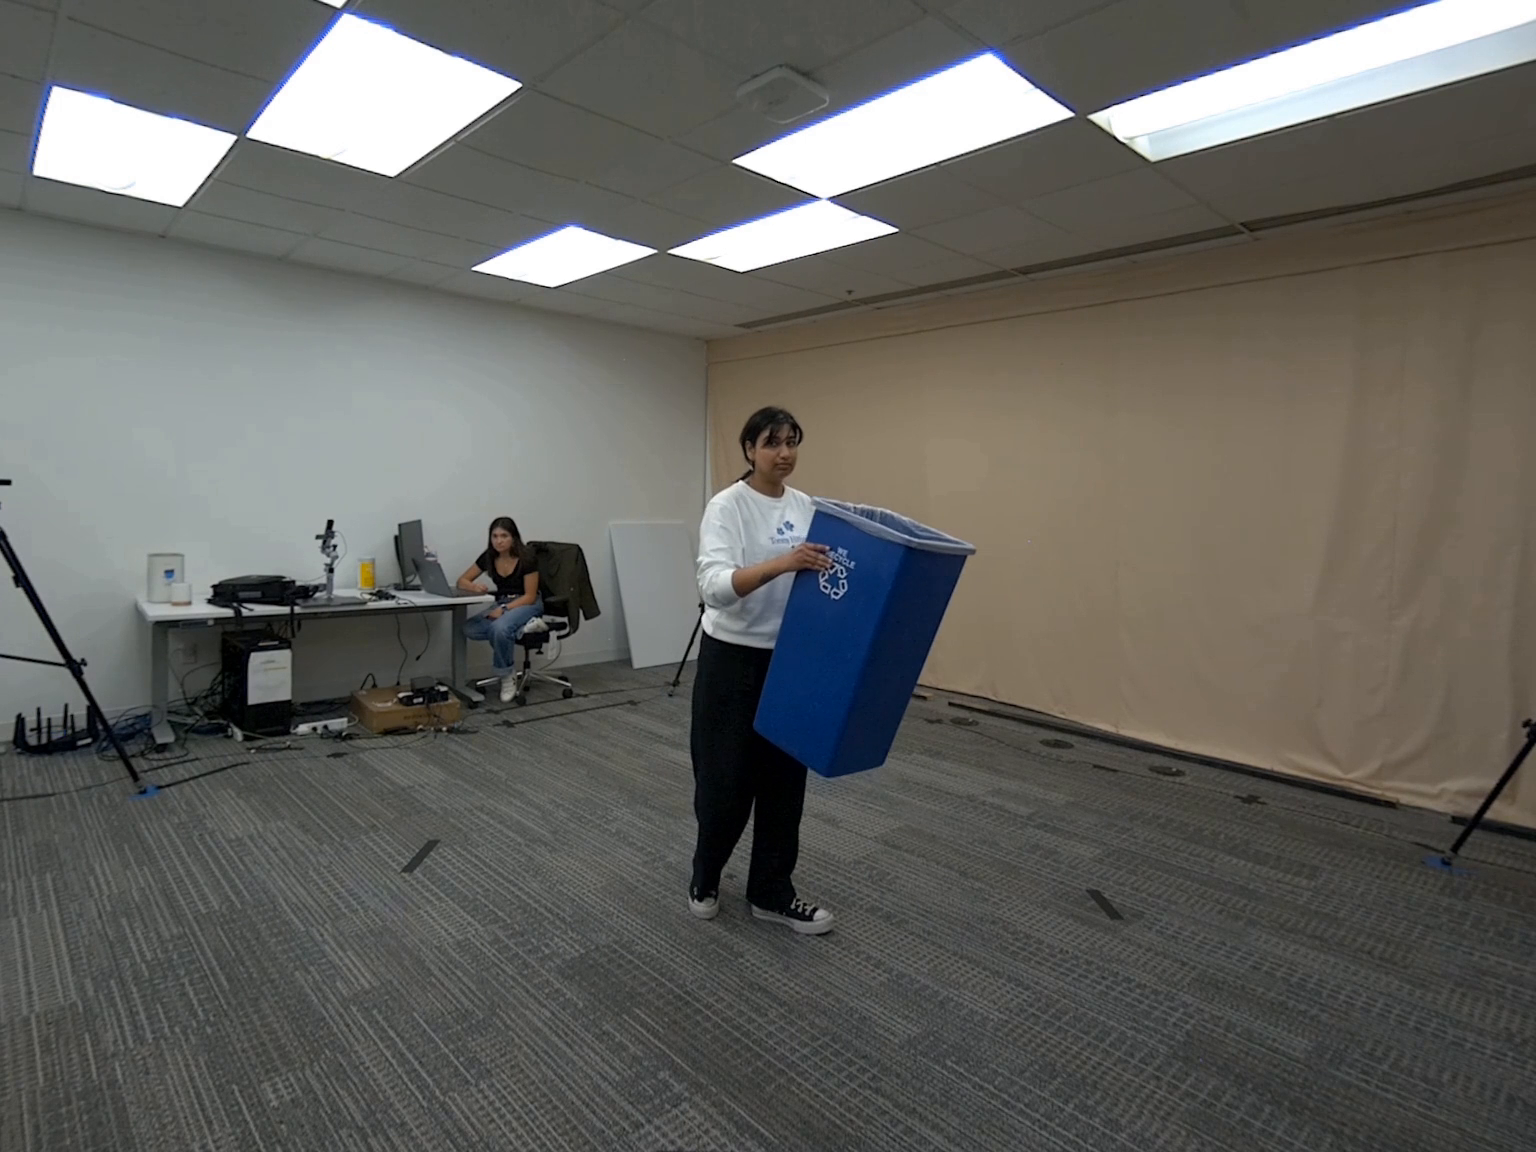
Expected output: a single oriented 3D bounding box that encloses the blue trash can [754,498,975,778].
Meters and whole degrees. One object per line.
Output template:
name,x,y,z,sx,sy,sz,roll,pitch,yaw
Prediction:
blue trash can,0.261,0.182,2.443,0.385,0.710,0.369,24,12,37
